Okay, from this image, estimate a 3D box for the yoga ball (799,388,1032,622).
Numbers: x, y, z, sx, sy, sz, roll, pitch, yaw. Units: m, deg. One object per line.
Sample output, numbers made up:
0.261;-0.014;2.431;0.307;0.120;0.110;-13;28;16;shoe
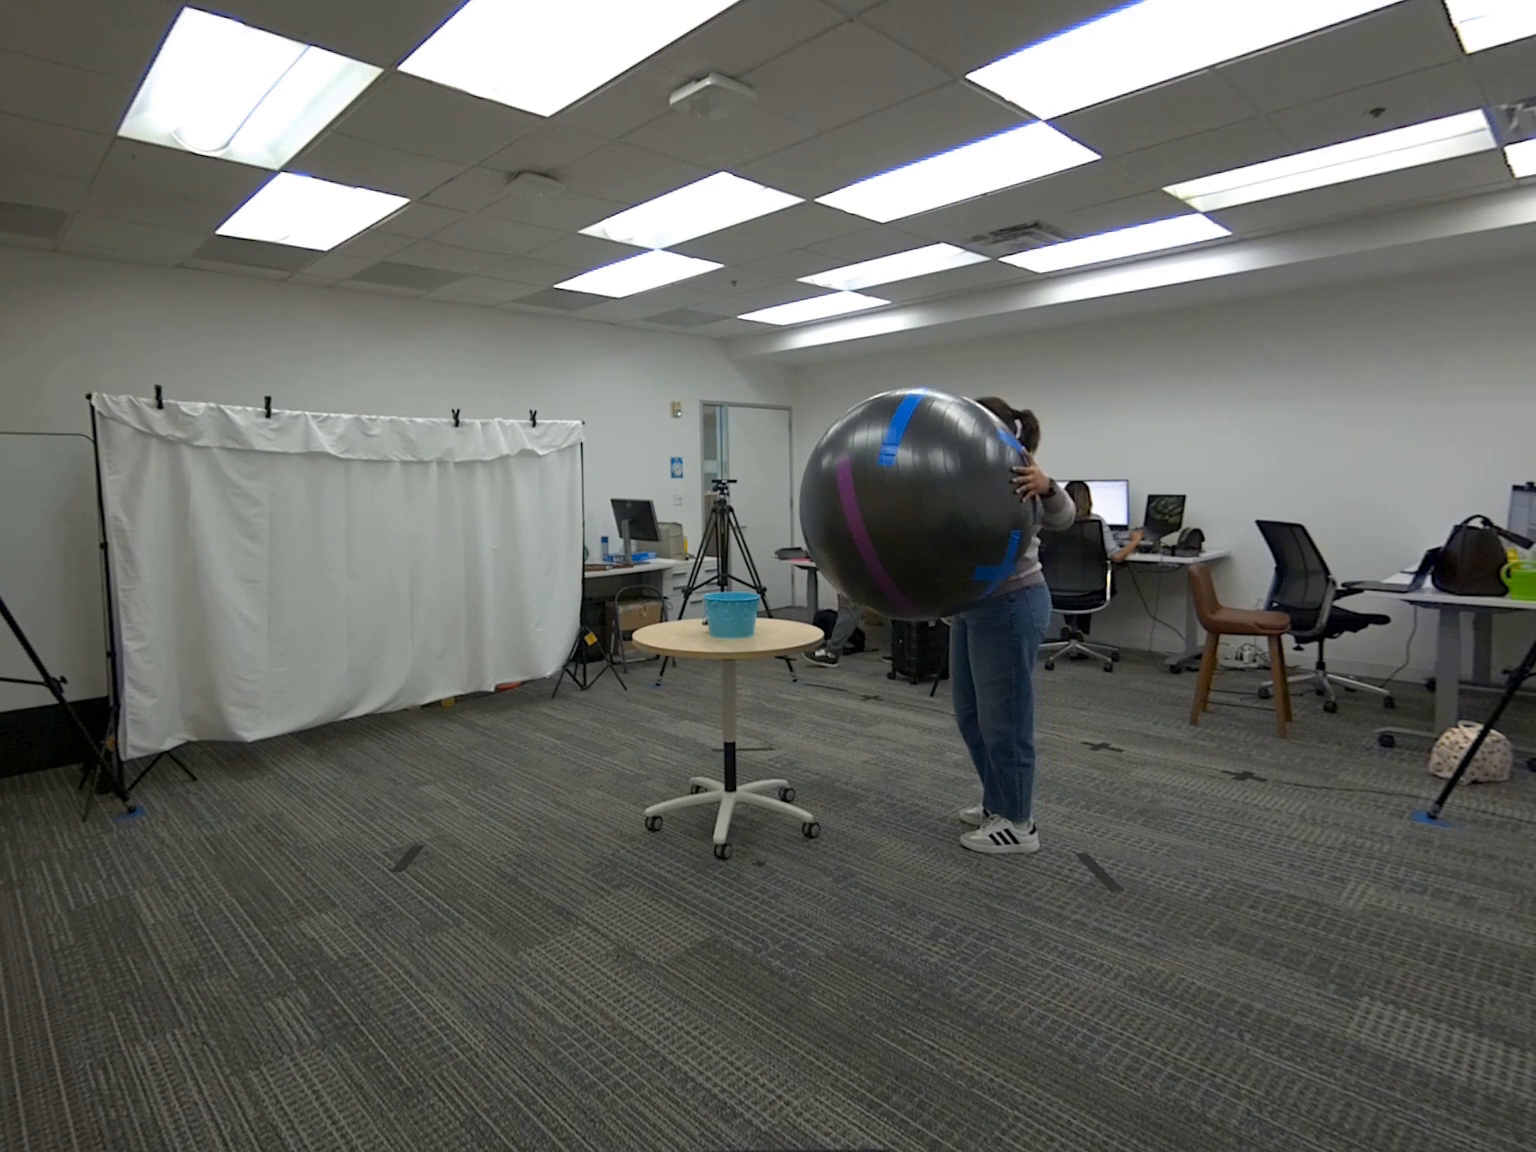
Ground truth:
0.481;-0.225;2.807;0.757;0.755;0.762;-1;5;-2;yoga ball
